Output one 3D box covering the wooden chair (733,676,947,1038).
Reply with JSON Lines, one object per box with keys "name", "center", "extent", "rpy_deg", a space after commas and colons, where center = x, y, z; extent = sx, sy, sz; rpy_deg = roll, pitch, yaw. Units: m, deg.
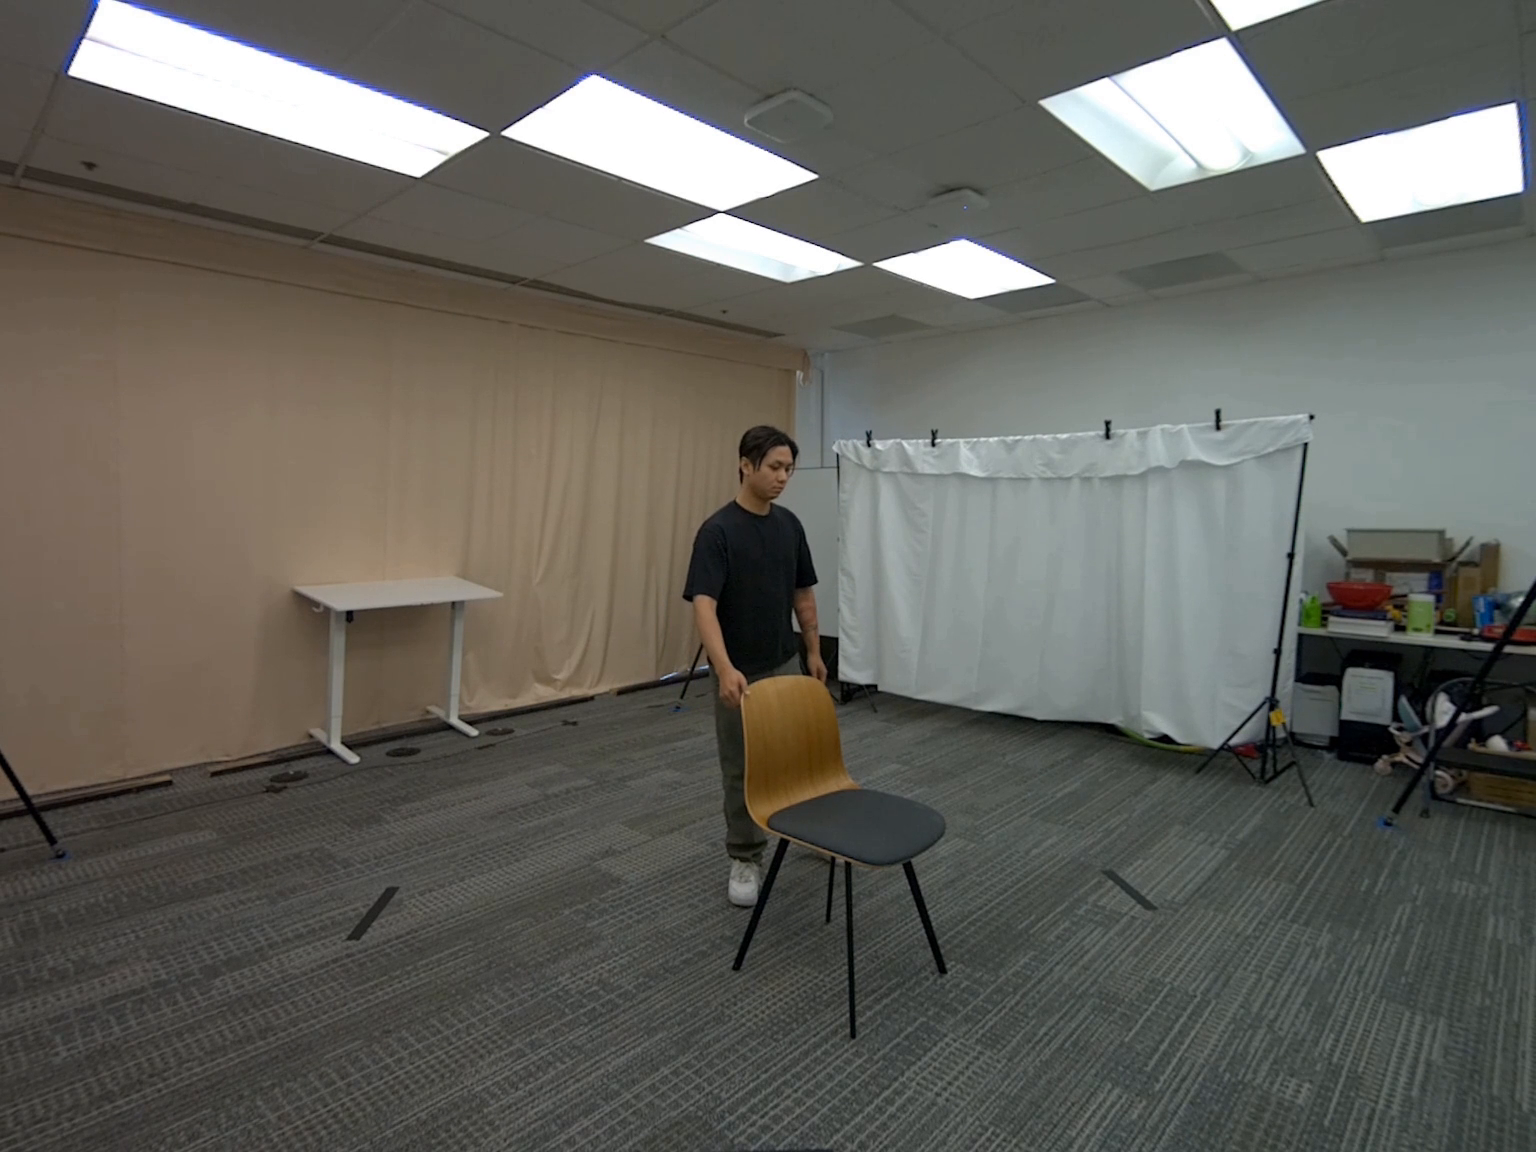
{"name": "wooden chair", "center": [0.222, 0.757, 2.479], "extent": [0.539, 0.877, 0.463], "rpy_deg": [-3, 0, 45]}
